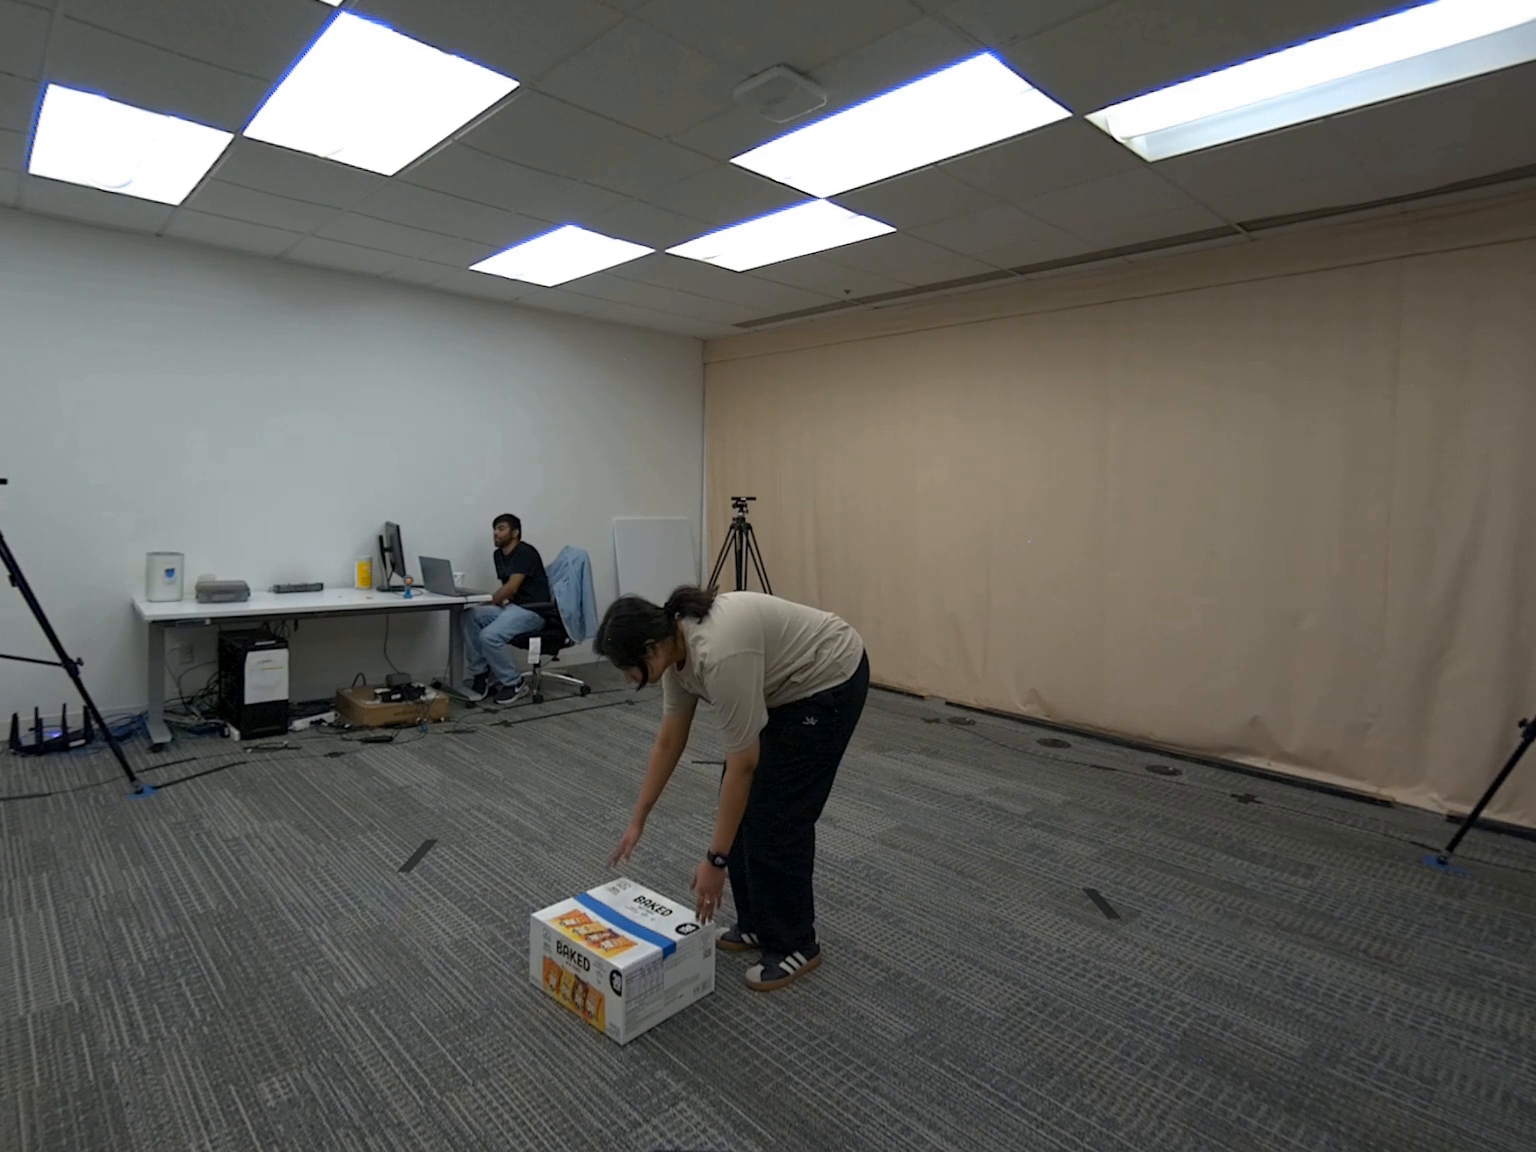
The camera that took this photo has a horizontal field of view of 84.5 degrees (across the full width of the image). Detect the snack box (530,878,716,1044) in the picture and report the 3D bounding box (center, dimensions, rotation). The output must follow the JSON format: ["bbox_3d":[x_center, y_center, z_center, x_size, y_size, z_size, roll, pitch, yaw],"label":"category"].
[{"bbox_3d":[-0.416,1.068,2.370,0.415,0.205,0.333,6,7,41],"label":"snack box"}]
